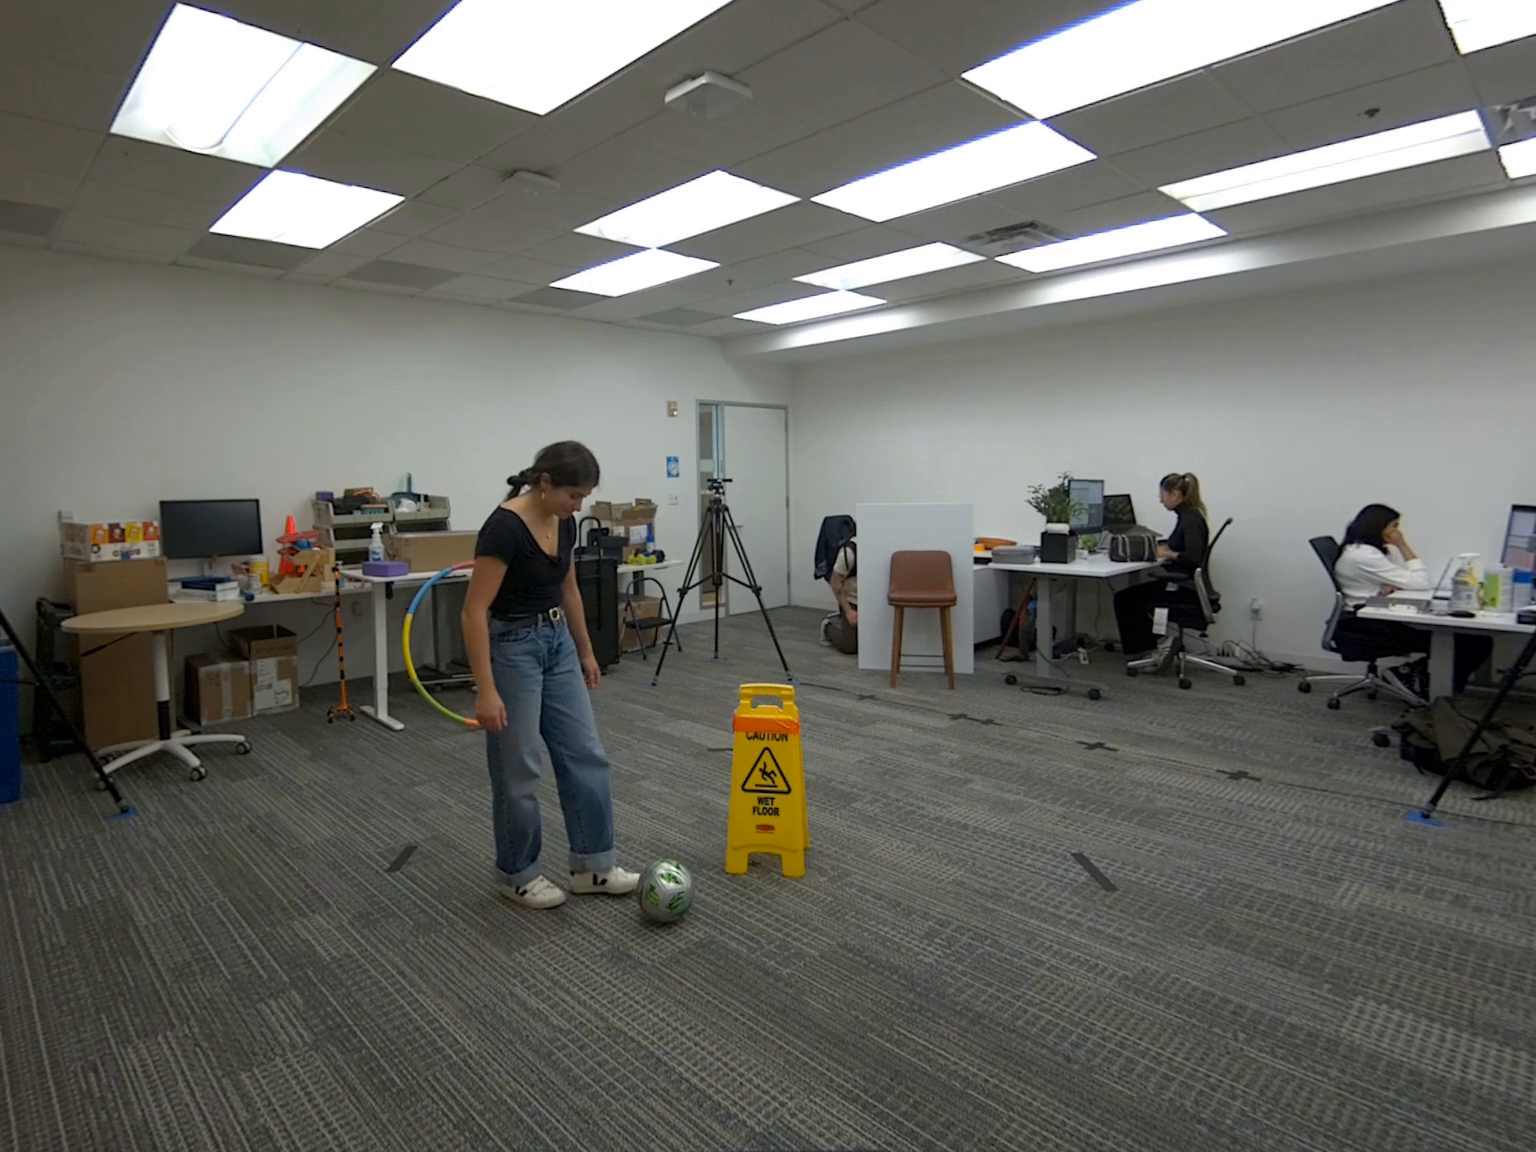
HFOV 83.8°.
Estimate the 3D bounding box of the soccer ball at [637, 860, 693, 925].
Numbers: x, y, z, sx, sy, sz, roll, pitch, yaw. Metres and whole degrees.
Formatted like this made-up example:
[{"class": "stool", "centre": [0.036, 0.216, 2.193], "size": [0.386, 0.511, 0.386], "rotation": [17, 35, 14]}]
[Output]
[{"class": "soccer ball", "centre": [-0.325, 0.994, 2.721], "size": [0.187, 0.187, 0.188], "rotation": [-1, 5, -2]}]
